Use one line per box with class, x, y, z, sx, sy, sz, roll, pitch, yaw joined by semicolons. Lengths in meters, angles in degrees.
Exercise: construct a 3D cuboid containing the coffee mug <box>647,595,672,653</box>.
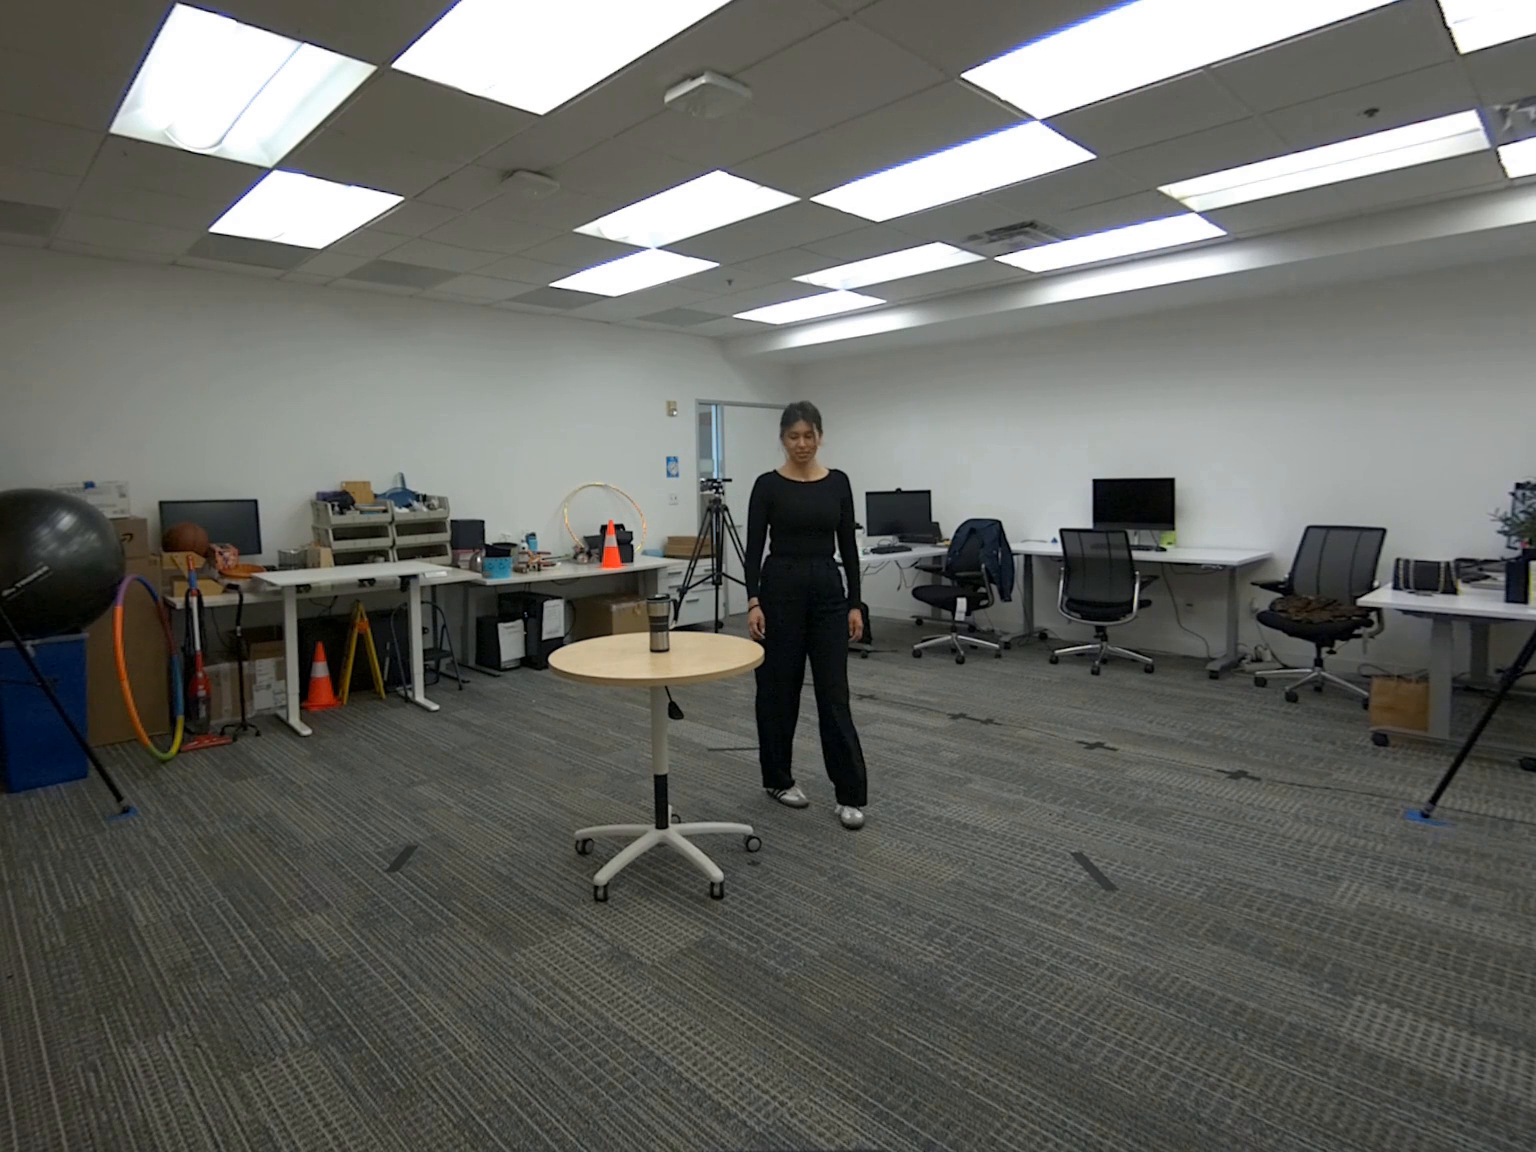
coffee mug;-0.378;0.173;3.058;0.125;0.203;0.085;-3;-1;38
